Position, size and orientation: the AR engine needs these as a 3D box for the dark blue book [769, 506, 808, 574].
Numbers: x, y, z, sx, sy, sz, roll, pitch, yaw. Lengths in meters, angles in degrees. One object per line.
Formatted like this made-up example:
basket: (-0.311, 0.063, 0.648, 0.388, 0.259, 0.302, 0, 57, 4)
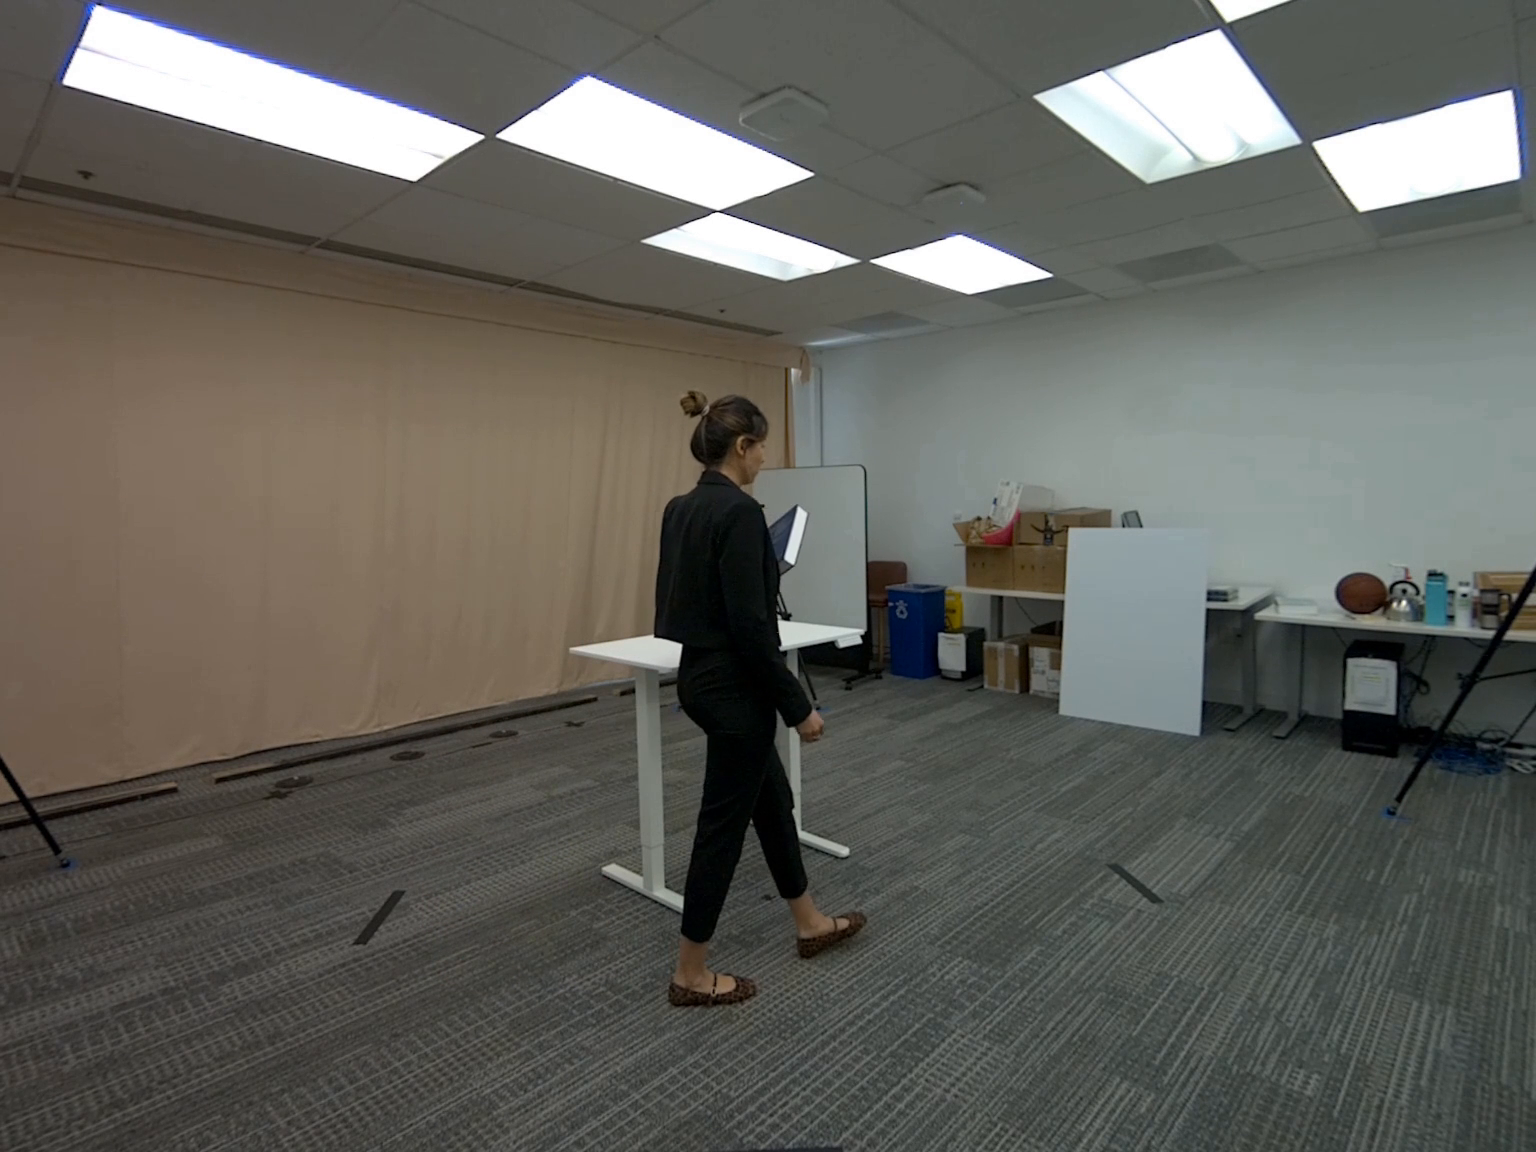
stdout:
dark blue book: (0.049, -0.092, 2.591, 0.044, 0.247, 0.165, 35, -46, -18)
